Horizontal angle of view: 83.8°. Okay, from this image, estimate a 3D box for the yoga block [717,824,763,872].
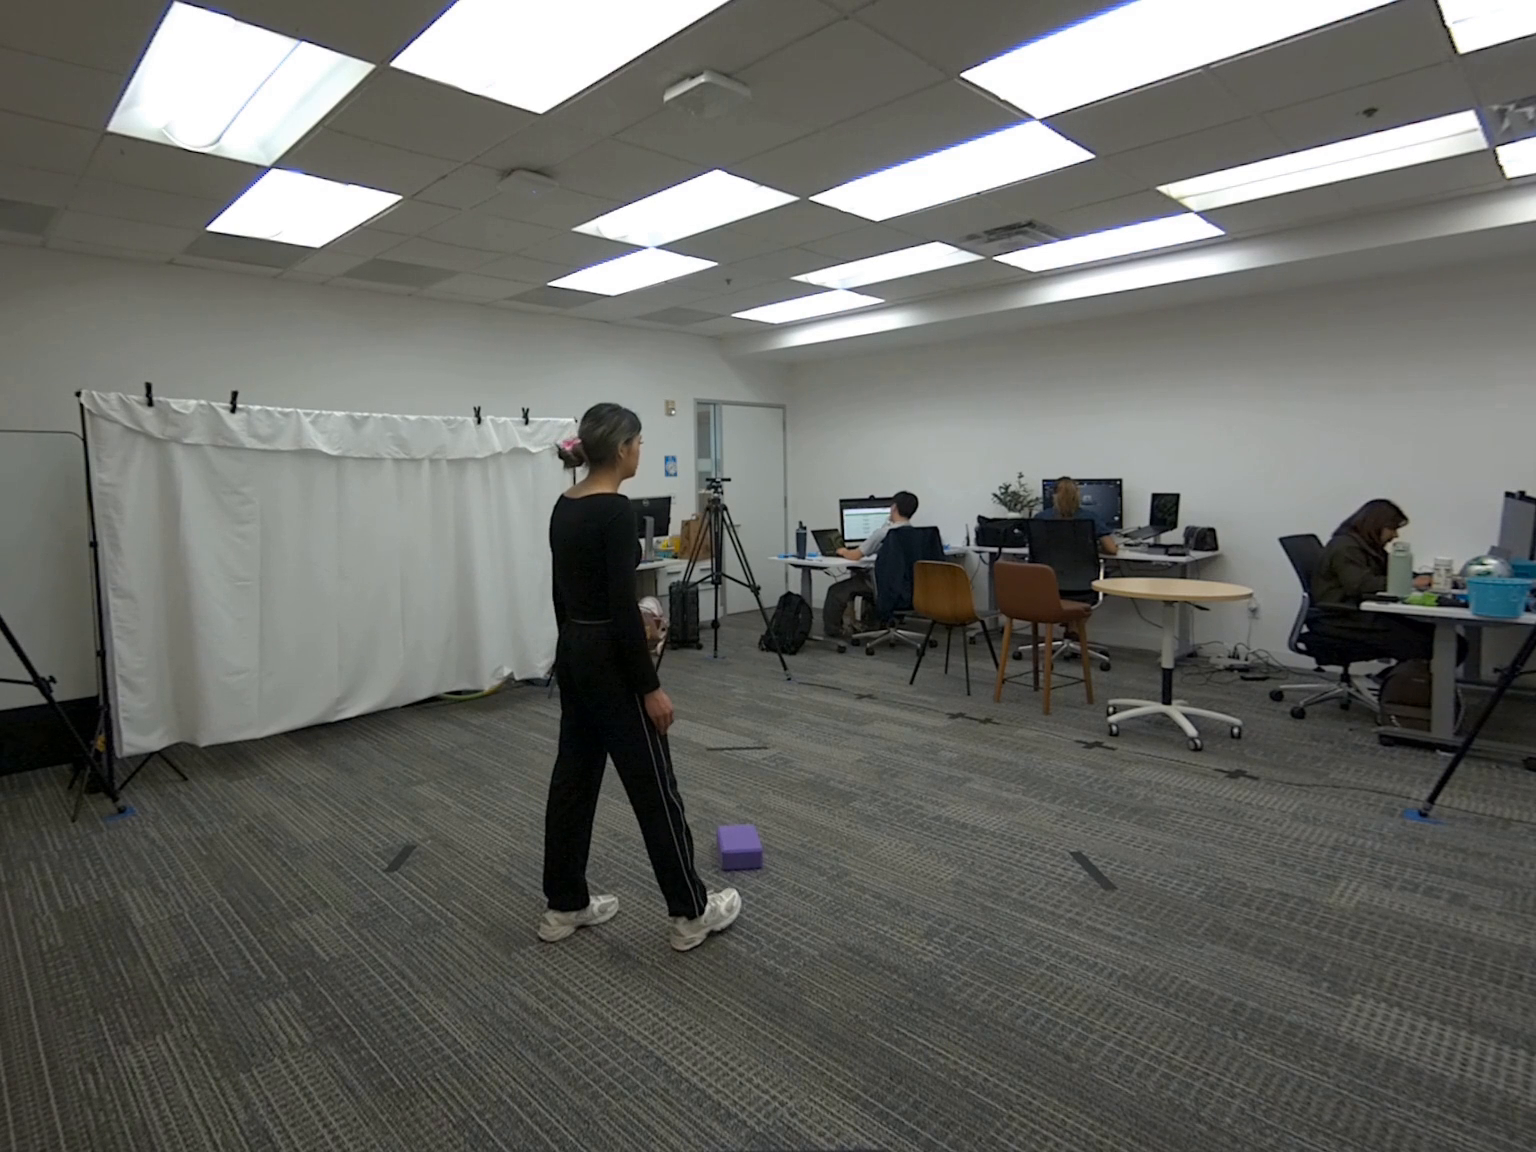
[{"bbox_3d":[-0.103,0.997,3.156,0.148,0.076,0.232,-2,6,-7],"label":"yoga block"}]
